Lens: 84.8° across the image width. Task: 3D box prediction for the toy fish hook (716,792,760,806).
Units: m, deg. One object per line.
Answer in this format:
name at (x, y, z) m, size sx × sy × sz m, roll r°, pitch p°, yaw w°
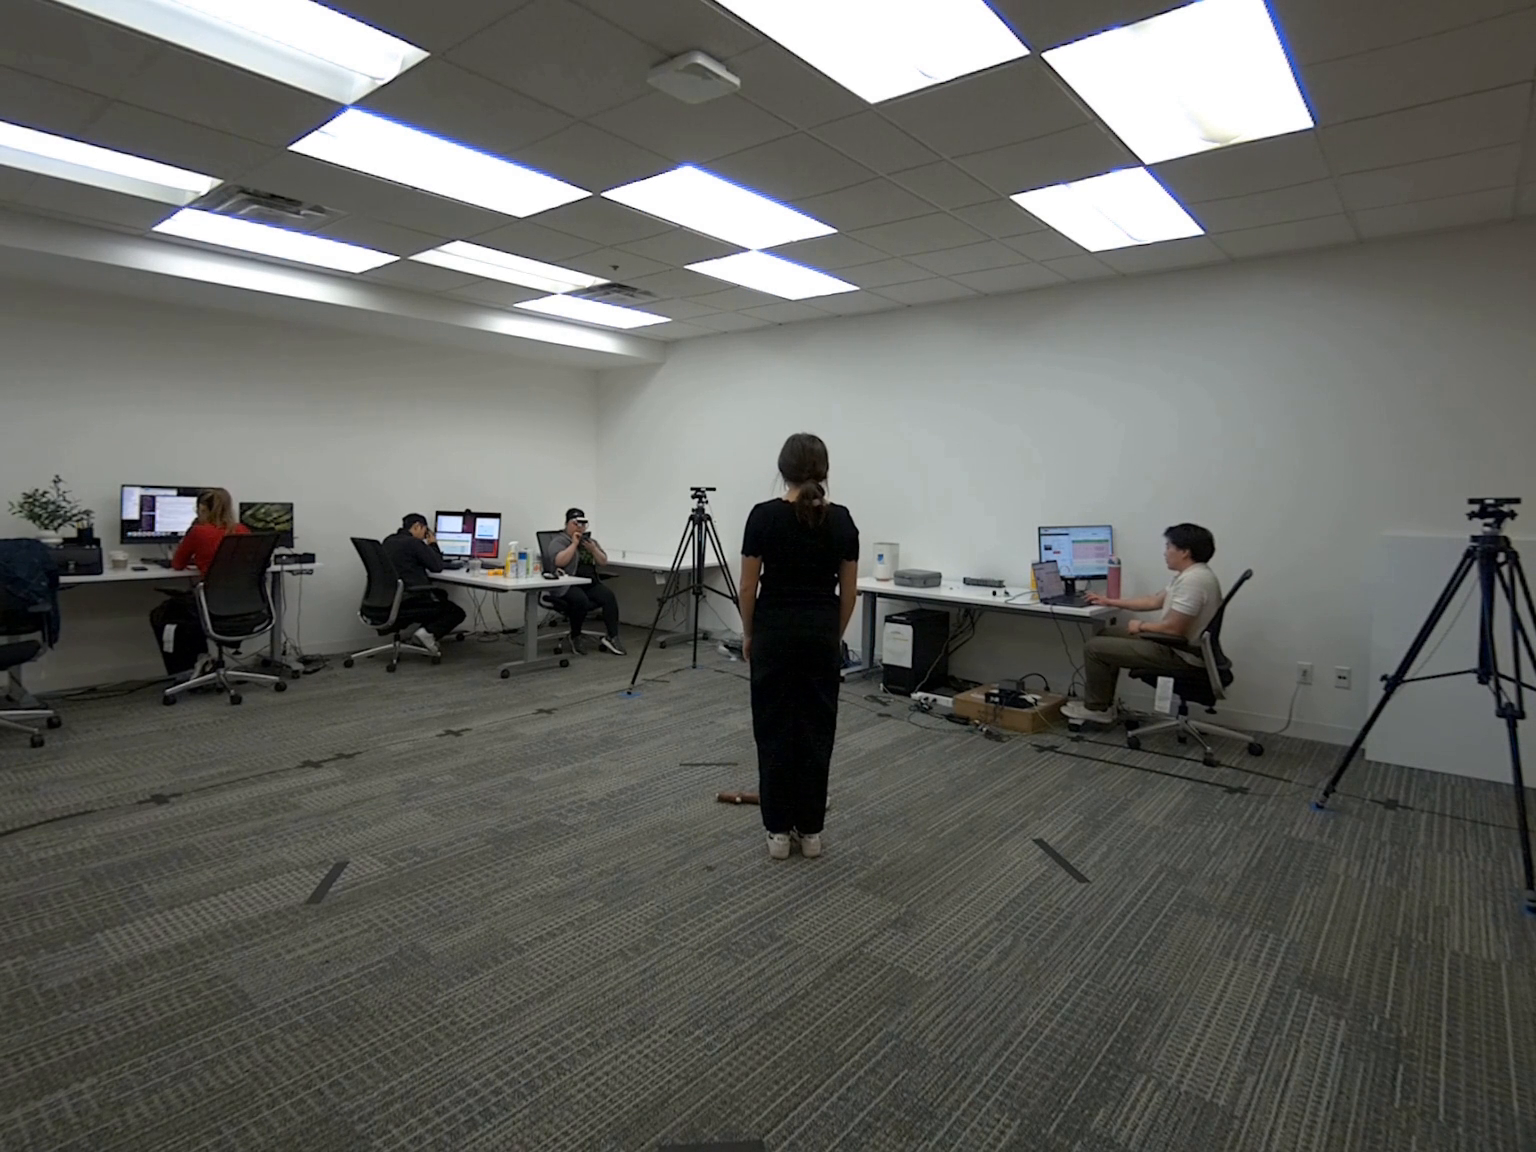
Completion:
toy fish hook at (0.007, 0.985, 3.794) m, size 0.512 × 0.048 × 0.221 m, roll 3°, pitch -2°, yaw 10°
